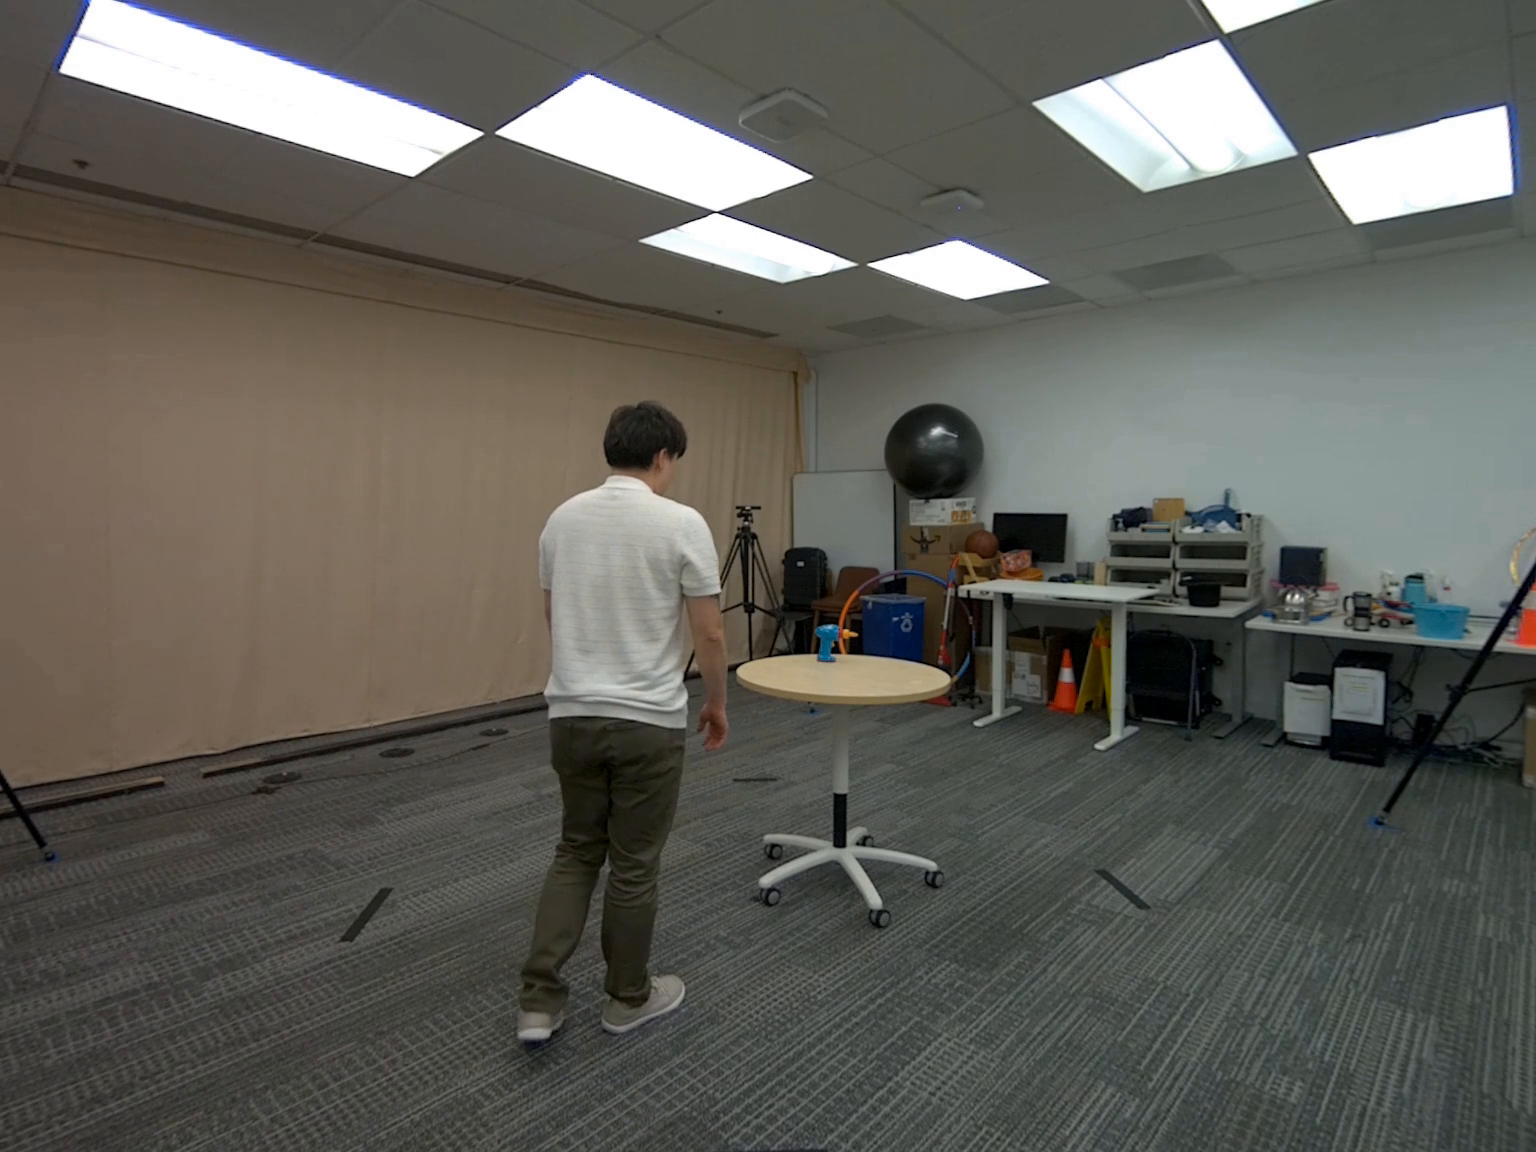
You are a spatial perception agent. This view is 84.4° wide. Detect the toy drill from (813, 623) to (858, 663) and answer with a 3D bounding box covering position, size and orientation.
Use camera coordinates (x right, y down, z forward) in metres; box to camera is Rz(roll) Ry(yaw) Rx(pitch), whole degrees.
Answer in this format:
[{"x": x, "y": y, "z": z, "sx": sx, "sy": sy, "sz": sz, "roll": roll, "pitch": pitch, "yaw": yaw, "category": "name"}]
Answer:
[{"x": 0.268, "y": 0.262, "z": 3.280, "sx": 0.172, "sy": 0.145, "sz": 0.060, "roll": 1, "pitch": 5, "yaw": 14, "category": "toy drill"}]
